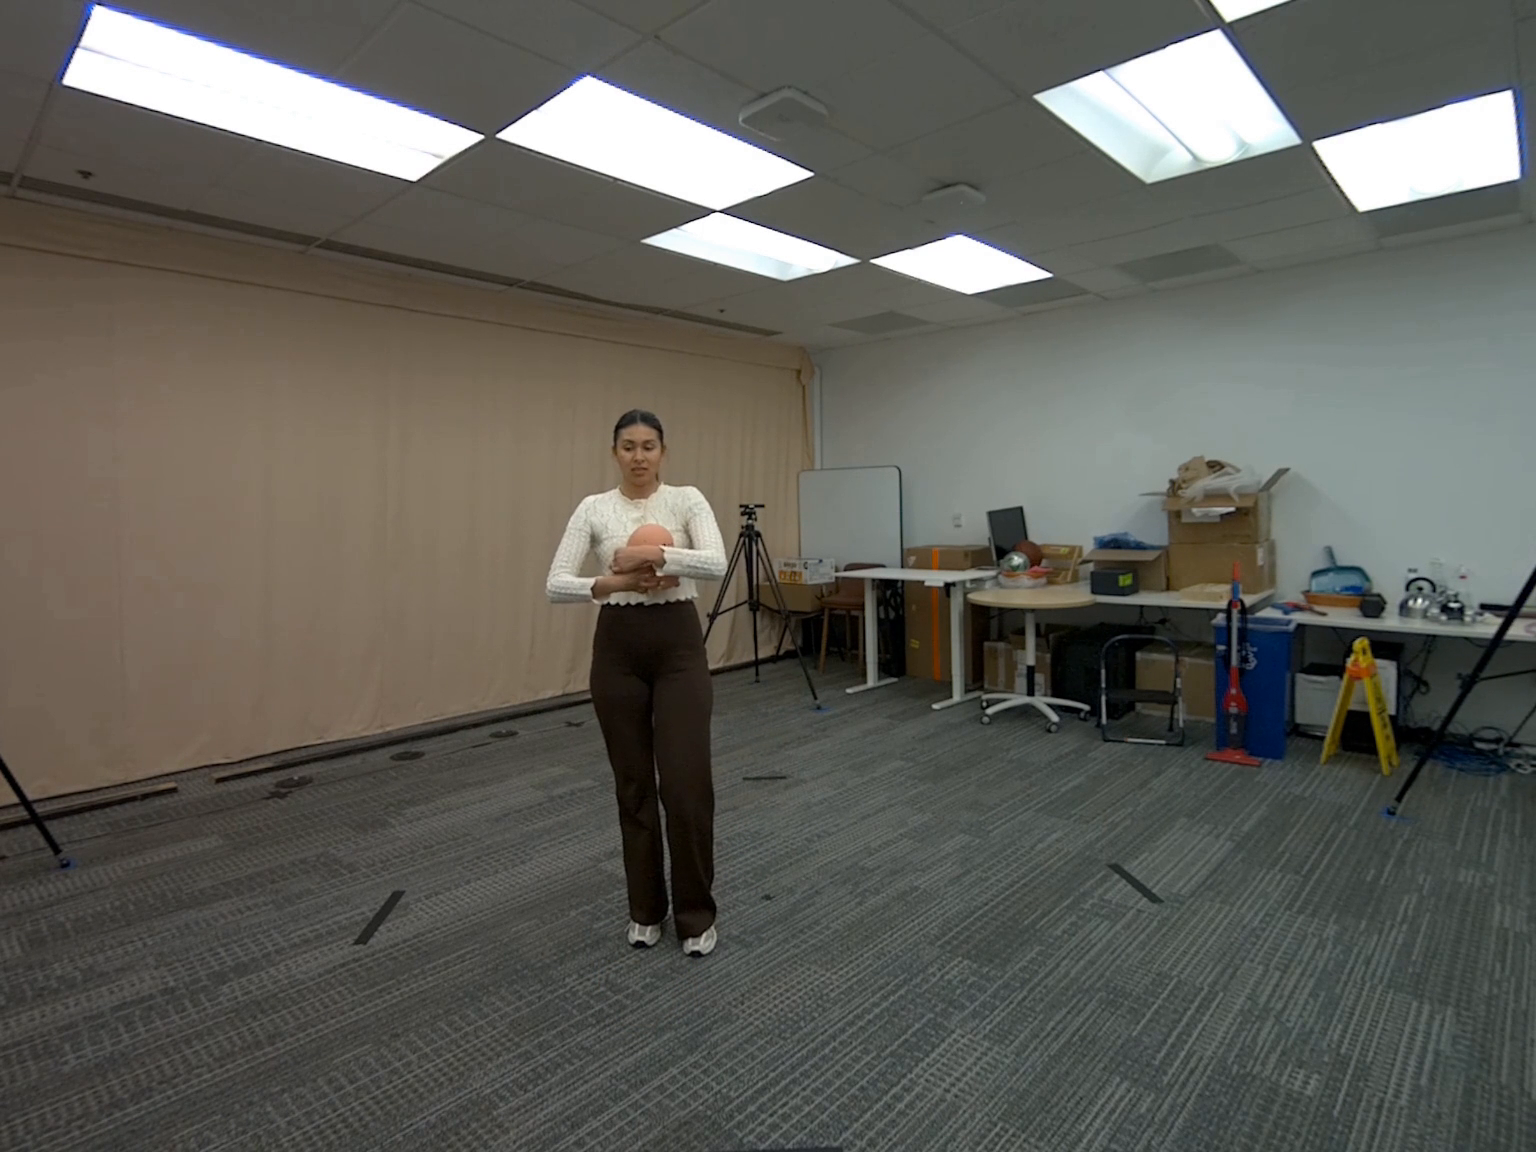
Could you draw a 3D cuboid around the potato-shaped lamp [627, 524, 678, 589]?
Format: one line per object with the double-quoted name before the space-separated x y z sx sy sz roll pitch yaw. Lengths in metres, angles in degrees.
"potato-shaped lamp" -0.357 -0.059 2.597 0.177 0.197 0.160 16 11 33
